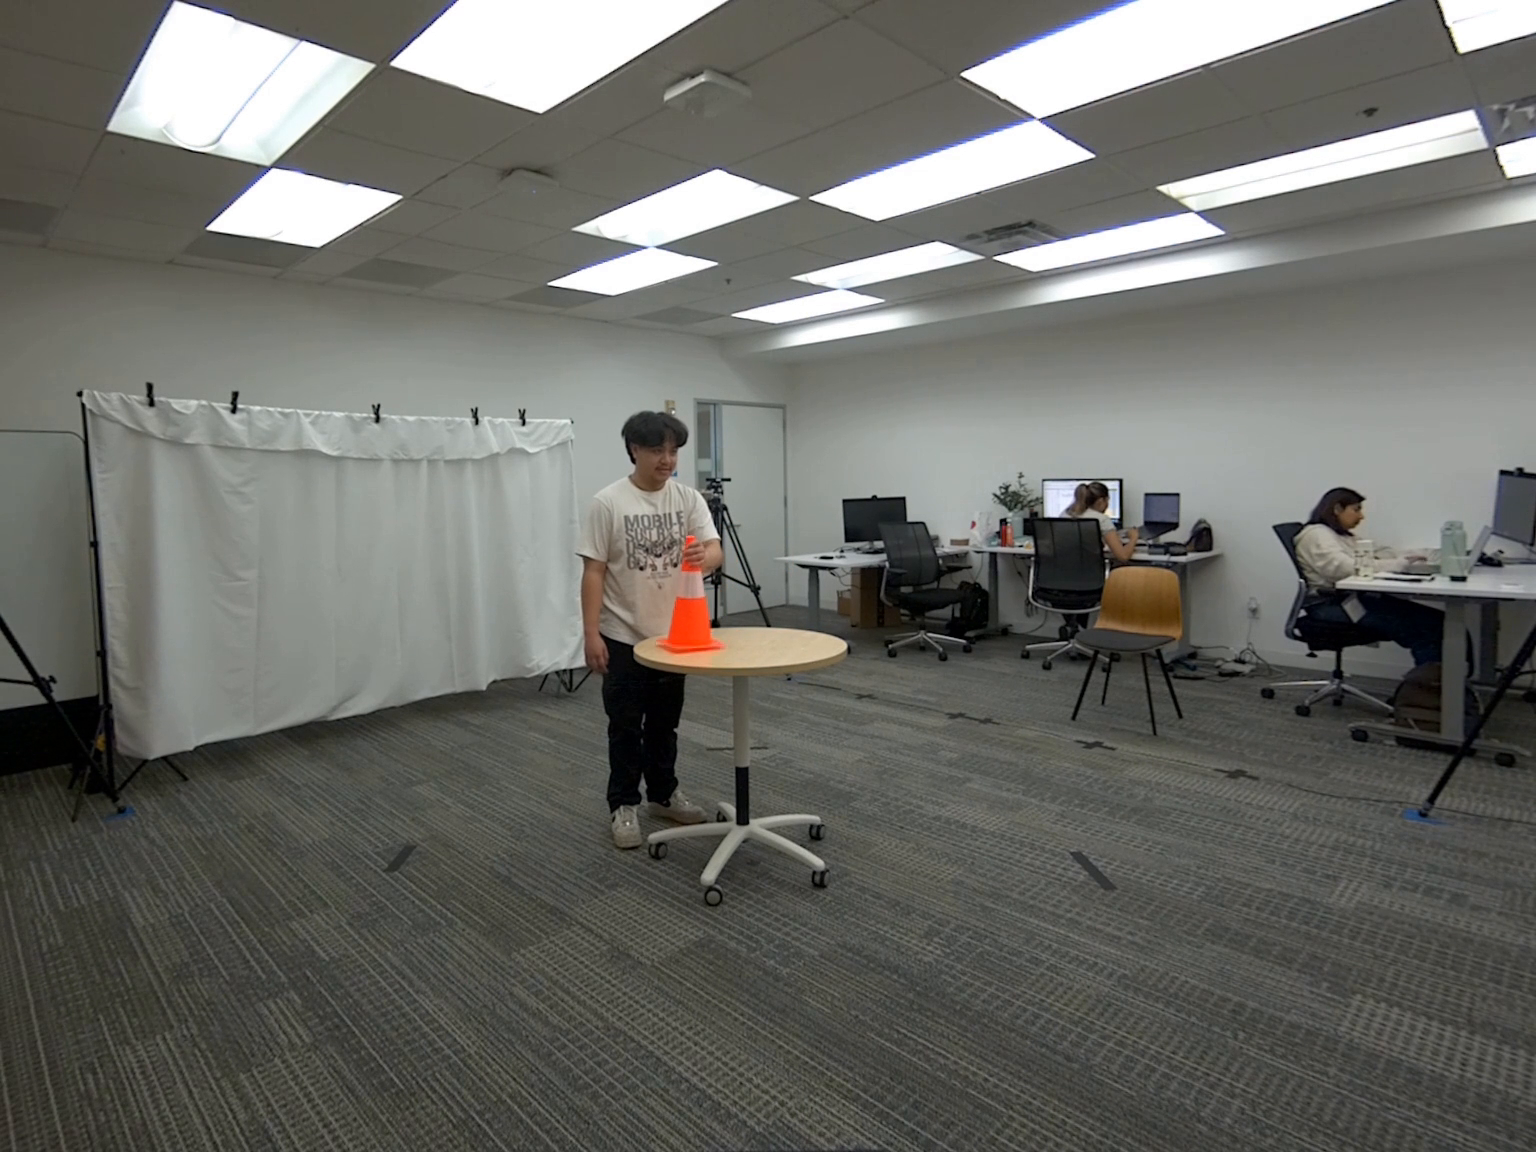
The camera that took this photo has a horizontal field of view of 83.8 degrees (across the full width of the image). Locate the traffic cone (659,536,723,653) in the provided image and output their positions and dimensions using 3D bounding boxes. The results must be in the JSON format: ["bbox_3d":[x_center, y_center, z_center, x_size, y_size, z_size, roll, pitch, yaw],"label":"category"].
[{"bbox_3d":[-0.276,0.045,3.034,0.209,0.383,0.200,1,3,36],"label":"traffic cone"}]
